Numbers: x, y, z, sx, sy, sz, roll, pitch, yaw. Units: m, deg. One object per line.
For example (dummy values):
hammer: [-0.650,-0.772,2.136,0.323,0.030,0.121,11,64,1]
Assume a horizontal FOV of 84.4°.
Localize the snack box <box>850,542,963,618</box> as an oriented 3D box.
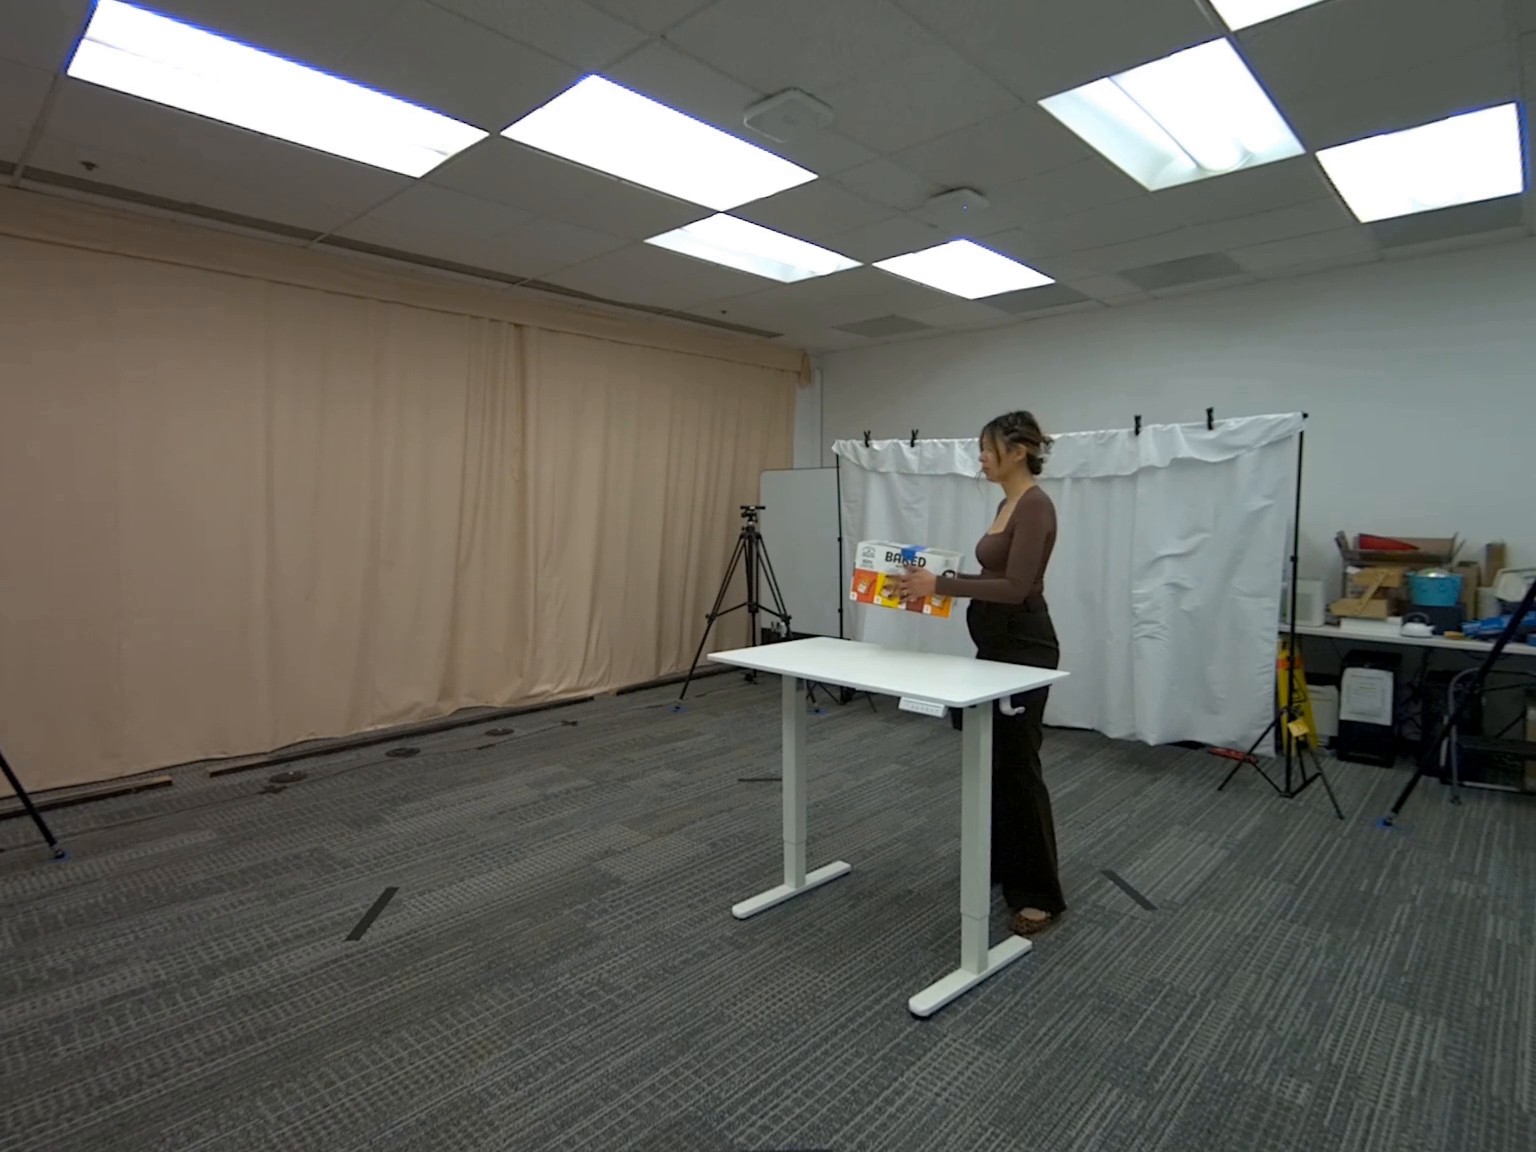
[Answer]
snack box: [0.515,0.003,3.021,0.347,0.205,0.398,11,6,17]
